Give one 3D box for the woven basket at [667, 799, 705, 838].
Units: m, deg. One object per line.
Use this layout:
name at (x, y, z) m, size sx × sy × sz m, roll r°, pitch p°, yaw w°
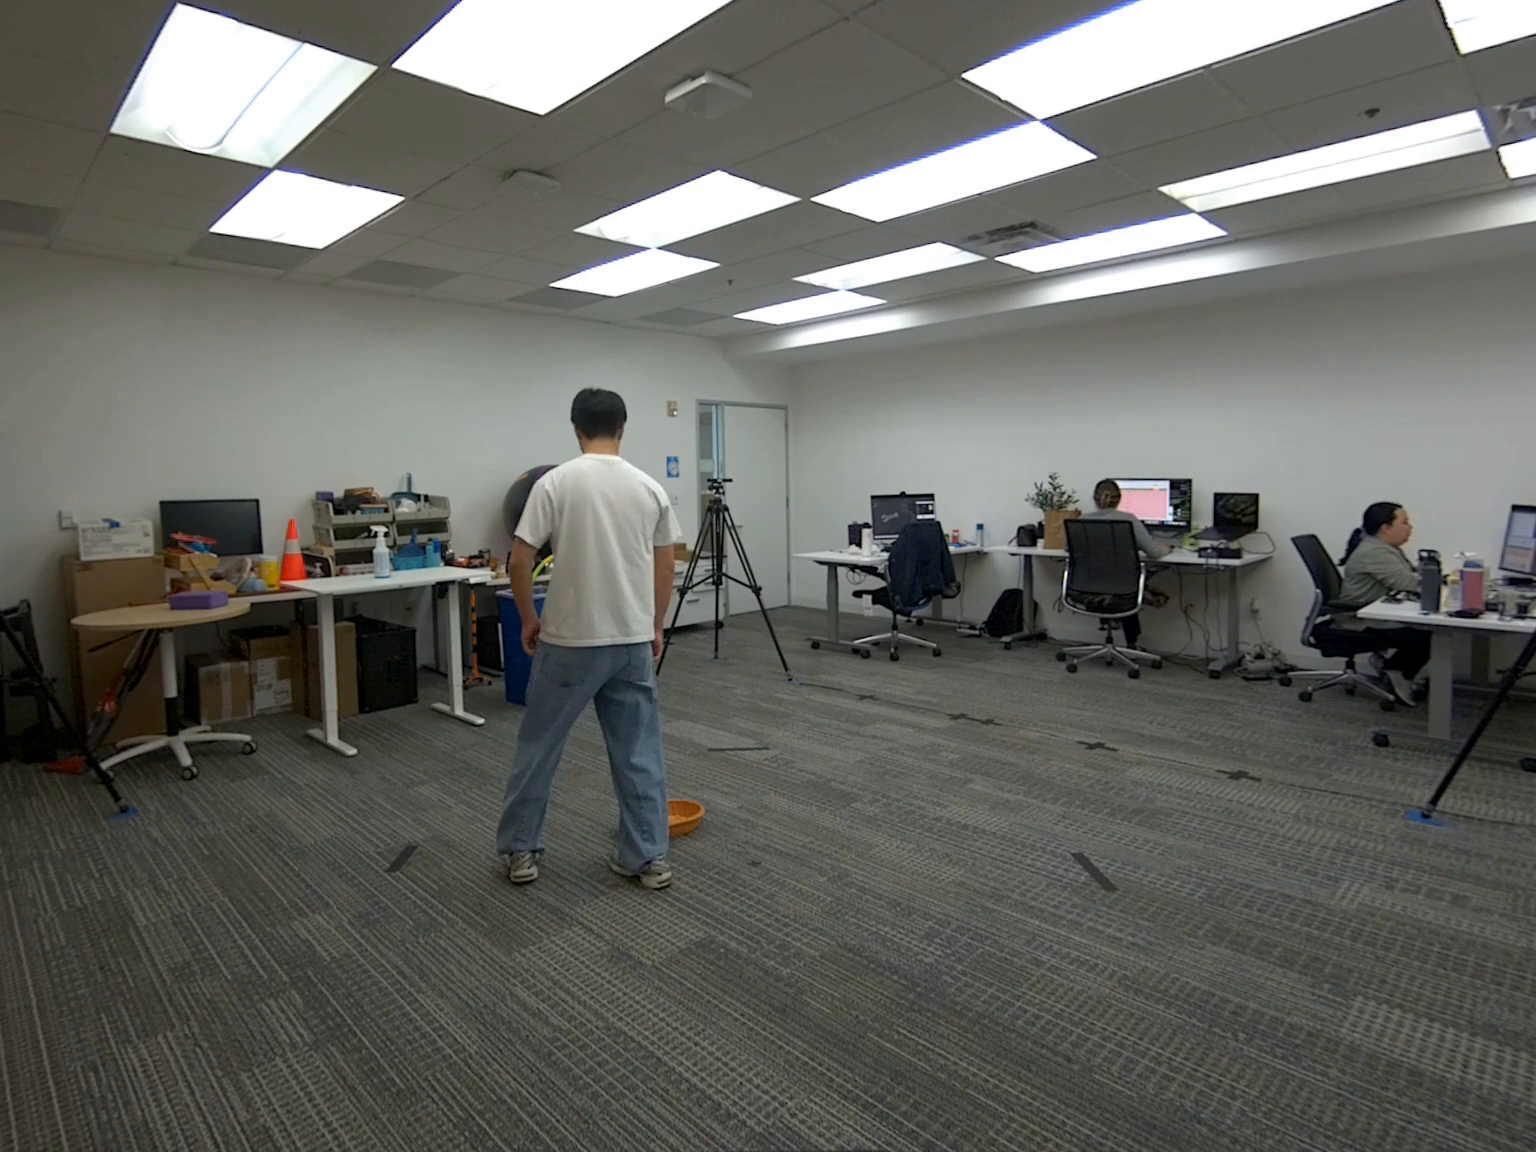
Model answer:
woven basket at (-0.415, 0.981, 3.416) m, size 0.342 × 0.073 × 0.259 m, roll -4°, pitch 7°, yaw -28°
